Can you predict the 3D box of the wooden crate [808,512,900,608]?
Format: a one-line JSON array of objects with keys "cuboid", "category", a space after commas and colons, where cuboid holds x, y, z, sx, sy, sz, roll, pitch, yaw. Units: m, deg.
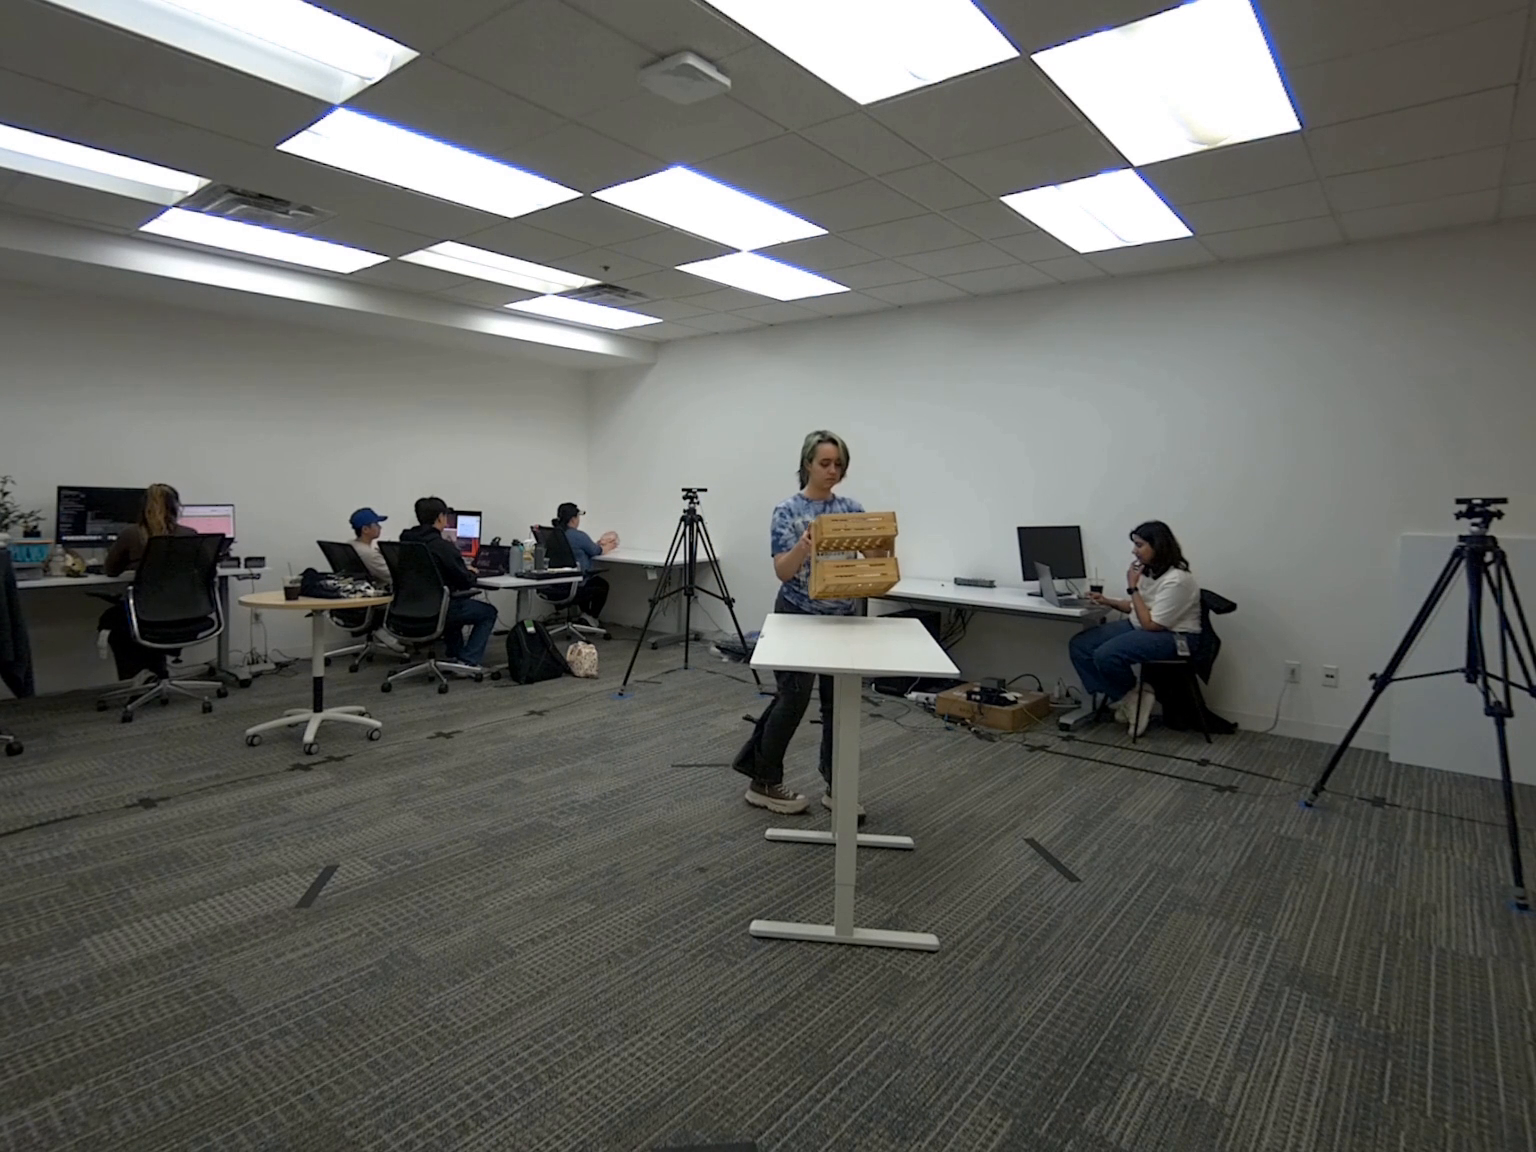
[{"cuboid": [0.324, -0.077, 3.357, 0.321, 0.278, 0.300, 1, -18, -10], "category": "wooden crate"}]
